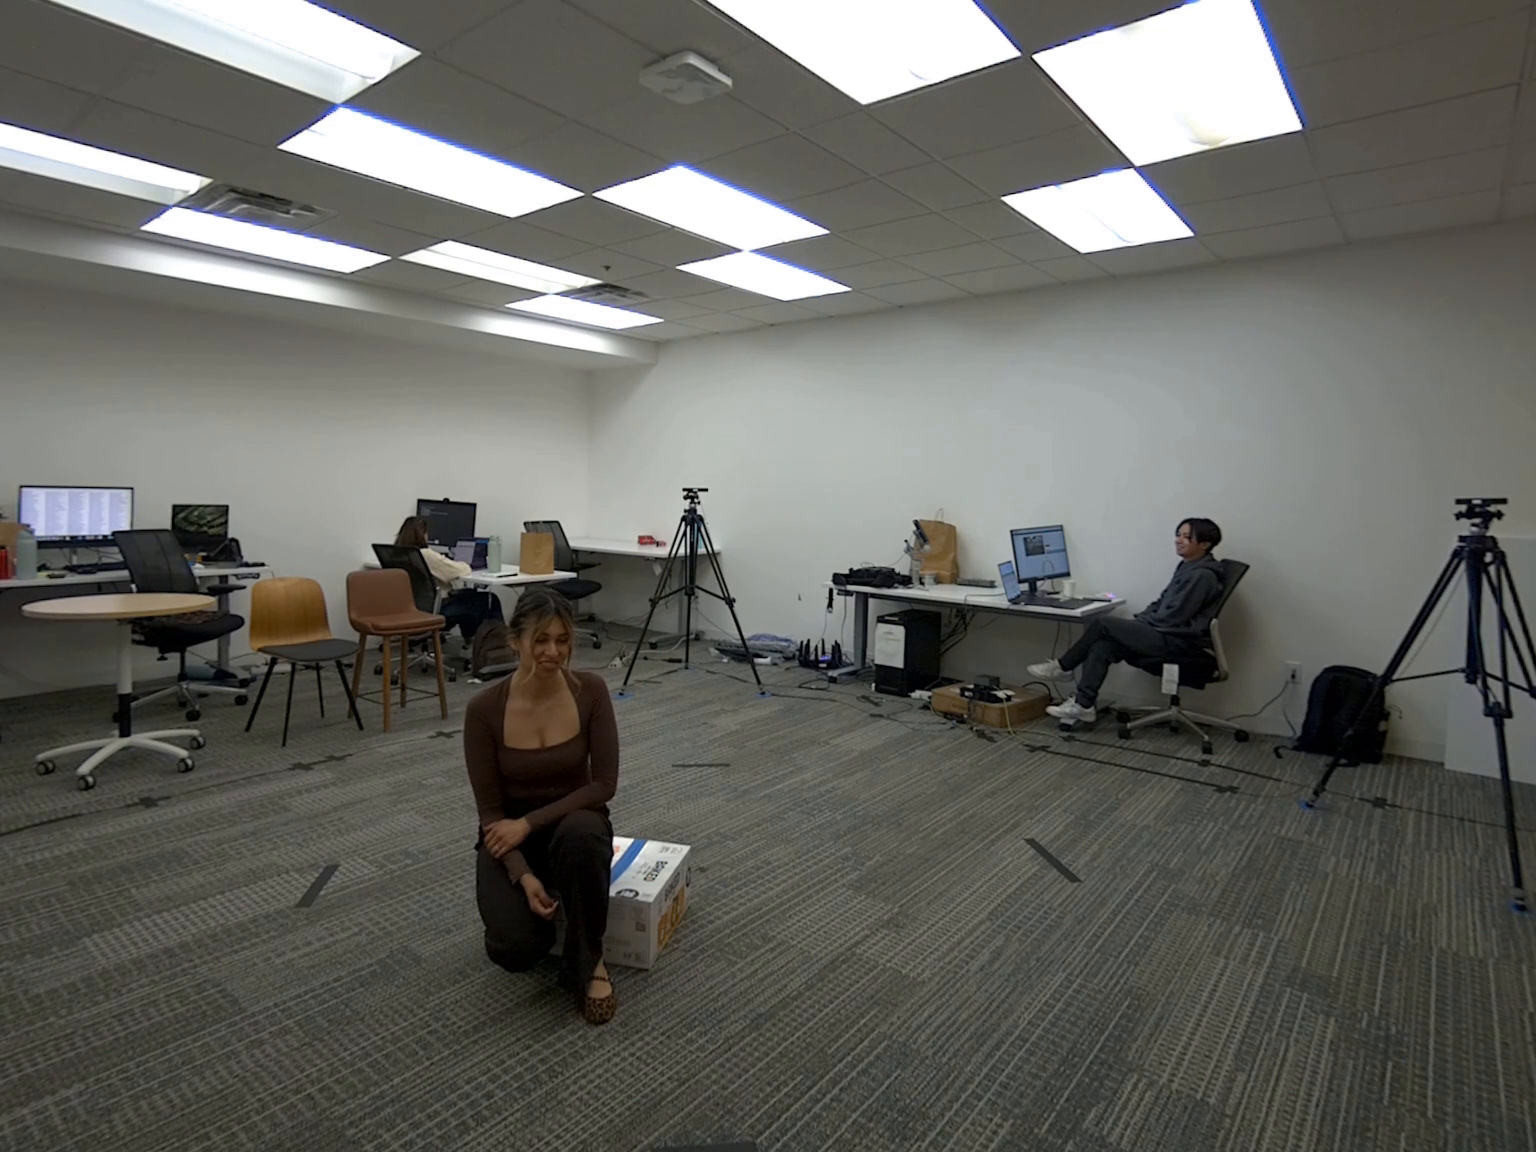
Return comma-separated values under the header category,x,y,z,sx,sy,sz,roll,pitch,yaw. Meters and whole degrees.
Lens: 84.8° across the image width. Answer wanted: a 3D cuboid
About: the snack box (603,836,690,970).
category,x,y,z,sx,sy,sz,roll,pitch,yaw
snack box,-0.469,1.009,2.670,0.345,0.205,0.401,1,5,13
